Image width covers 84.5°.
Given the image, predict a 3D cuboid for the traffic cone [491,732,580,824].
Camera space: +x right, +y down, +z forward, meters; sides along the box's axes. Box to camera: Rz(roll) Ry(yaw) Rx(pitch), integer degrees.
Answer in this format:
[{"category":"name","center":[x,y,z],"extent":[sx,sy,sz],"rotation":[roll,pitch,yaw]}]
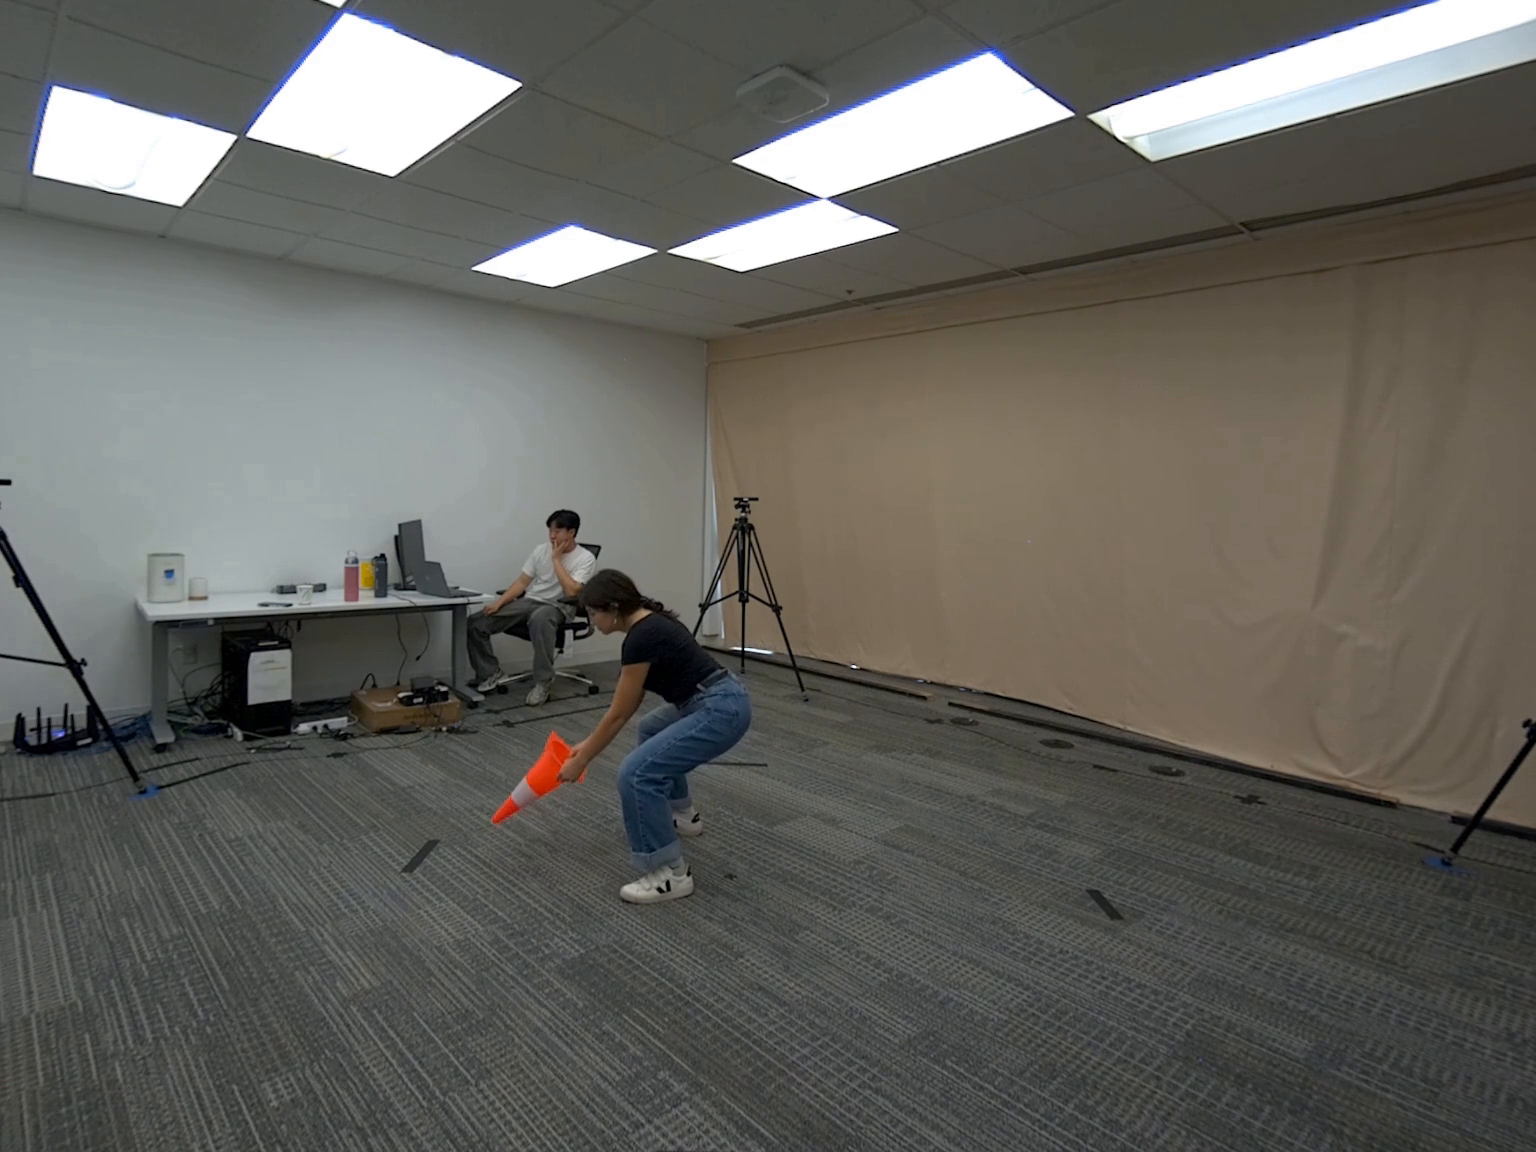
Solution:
[{"category":"traffic cone","center":[-0.917,0.813,3.244],"extent":[0.383,0.201,0.207],"rotation":[-41,21,0]}]
